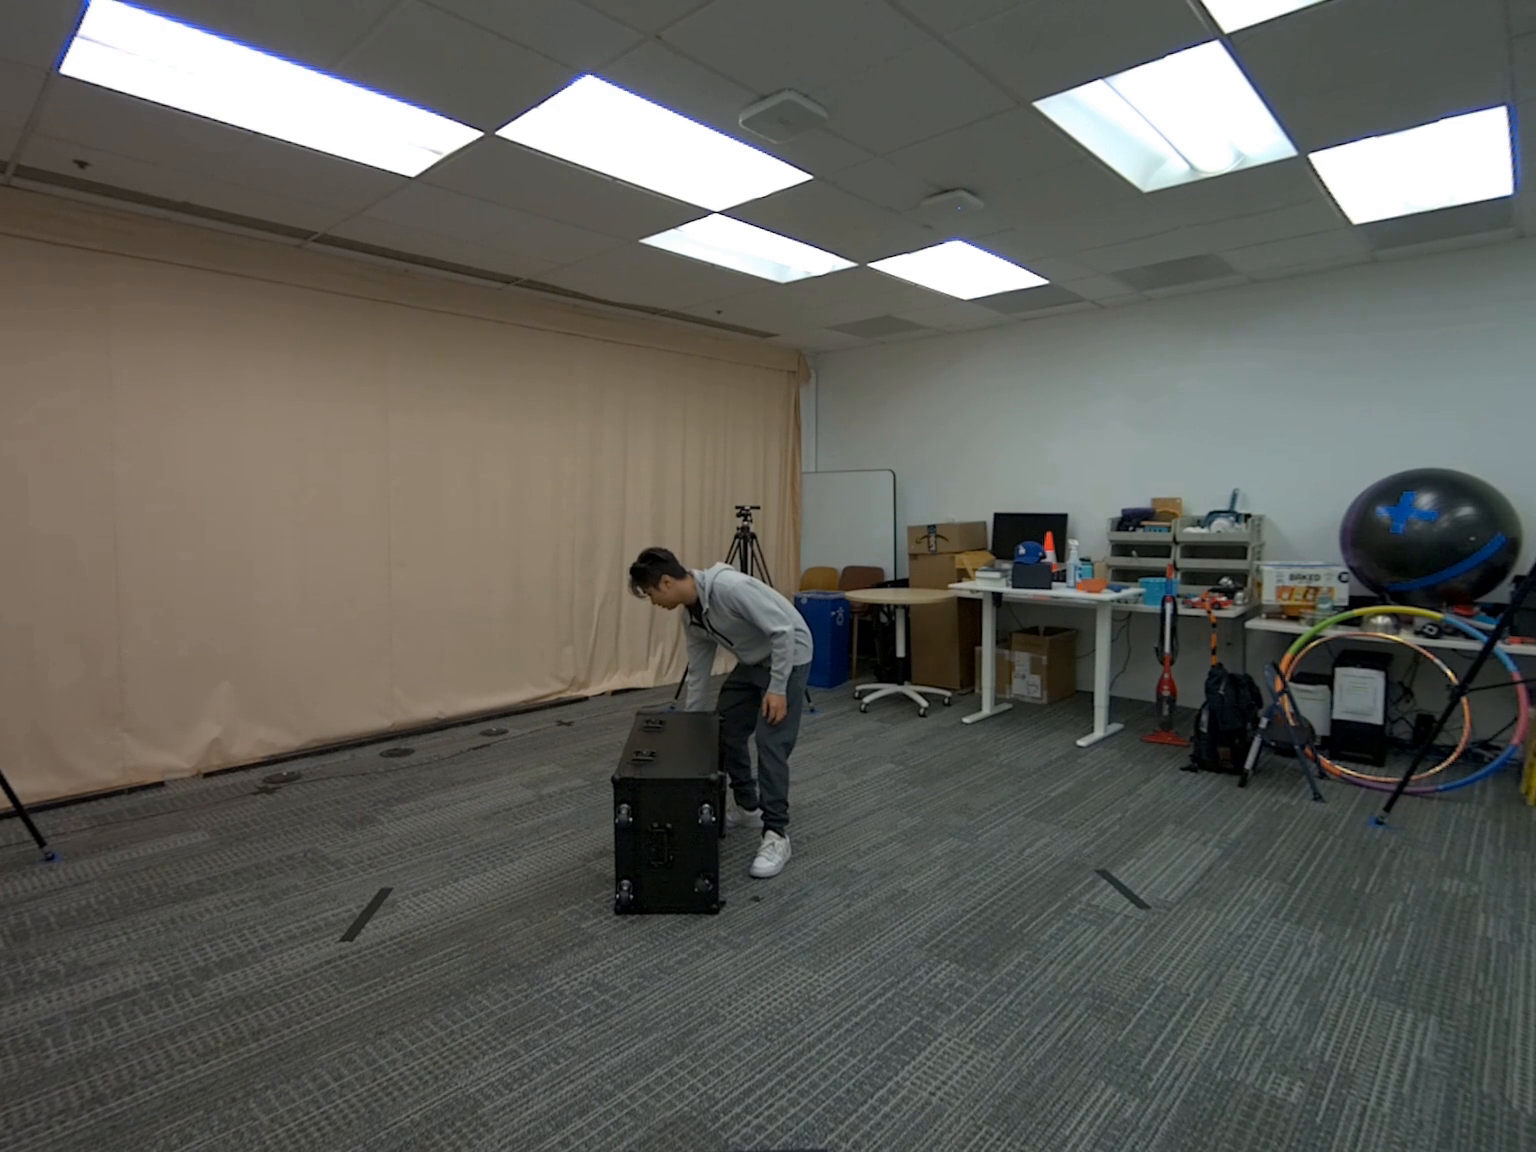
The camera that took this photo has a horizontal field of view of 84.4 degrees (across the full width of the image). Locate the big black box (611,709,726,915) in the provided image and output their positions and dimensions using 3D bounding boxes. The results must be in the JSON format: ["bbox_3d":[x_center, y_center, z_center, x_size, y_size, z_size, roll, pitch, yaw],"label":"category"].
[{"bbox_3d":[-0.355,0.868,3.198,0.396,0.519,0.865,-1,6,-2],"label":"big black box"}]
